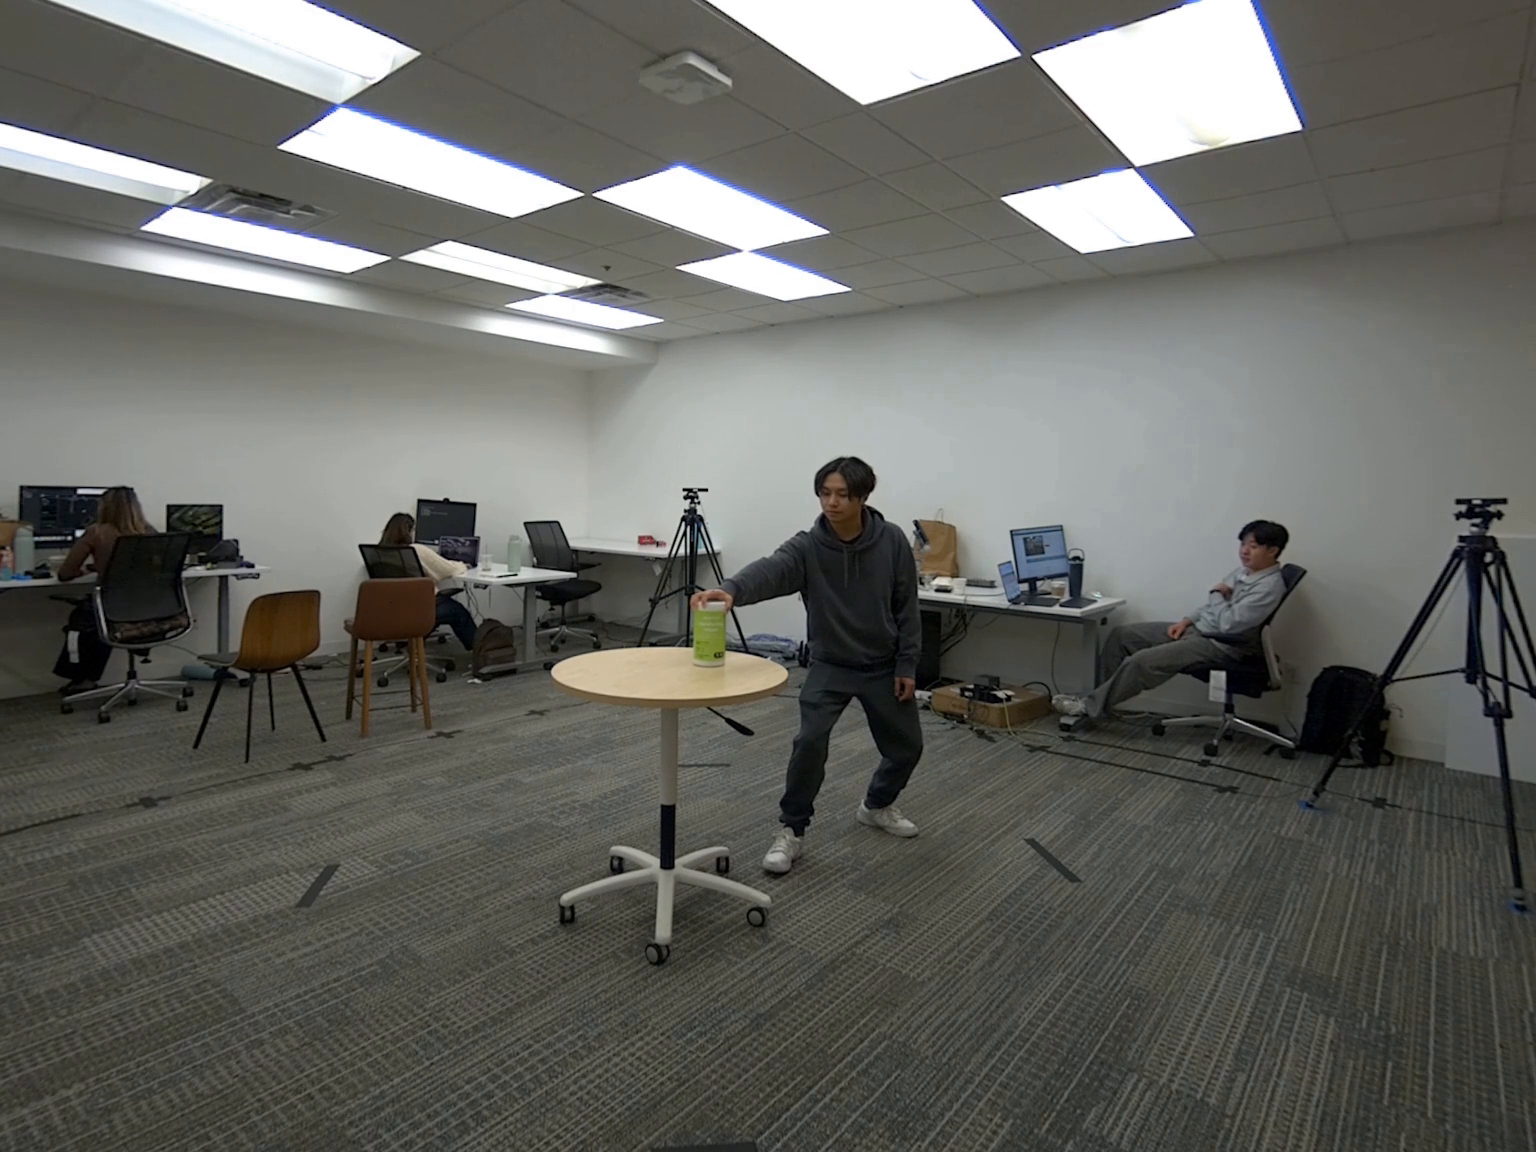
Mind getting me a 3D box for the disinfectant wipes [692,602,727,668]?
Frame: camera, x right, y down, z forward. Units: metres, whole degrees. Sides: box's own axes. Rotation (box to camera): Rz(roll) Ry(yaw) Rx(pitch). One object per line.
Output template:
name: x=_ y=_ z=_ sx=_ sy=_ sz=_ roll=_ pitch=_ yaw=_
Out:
disinfectant wipes: x=-0.210 y=0.189 z=2.871 sx=0.117 sy=0.217 sz=0.118 roll=3 pitch=2 yaw=-2
